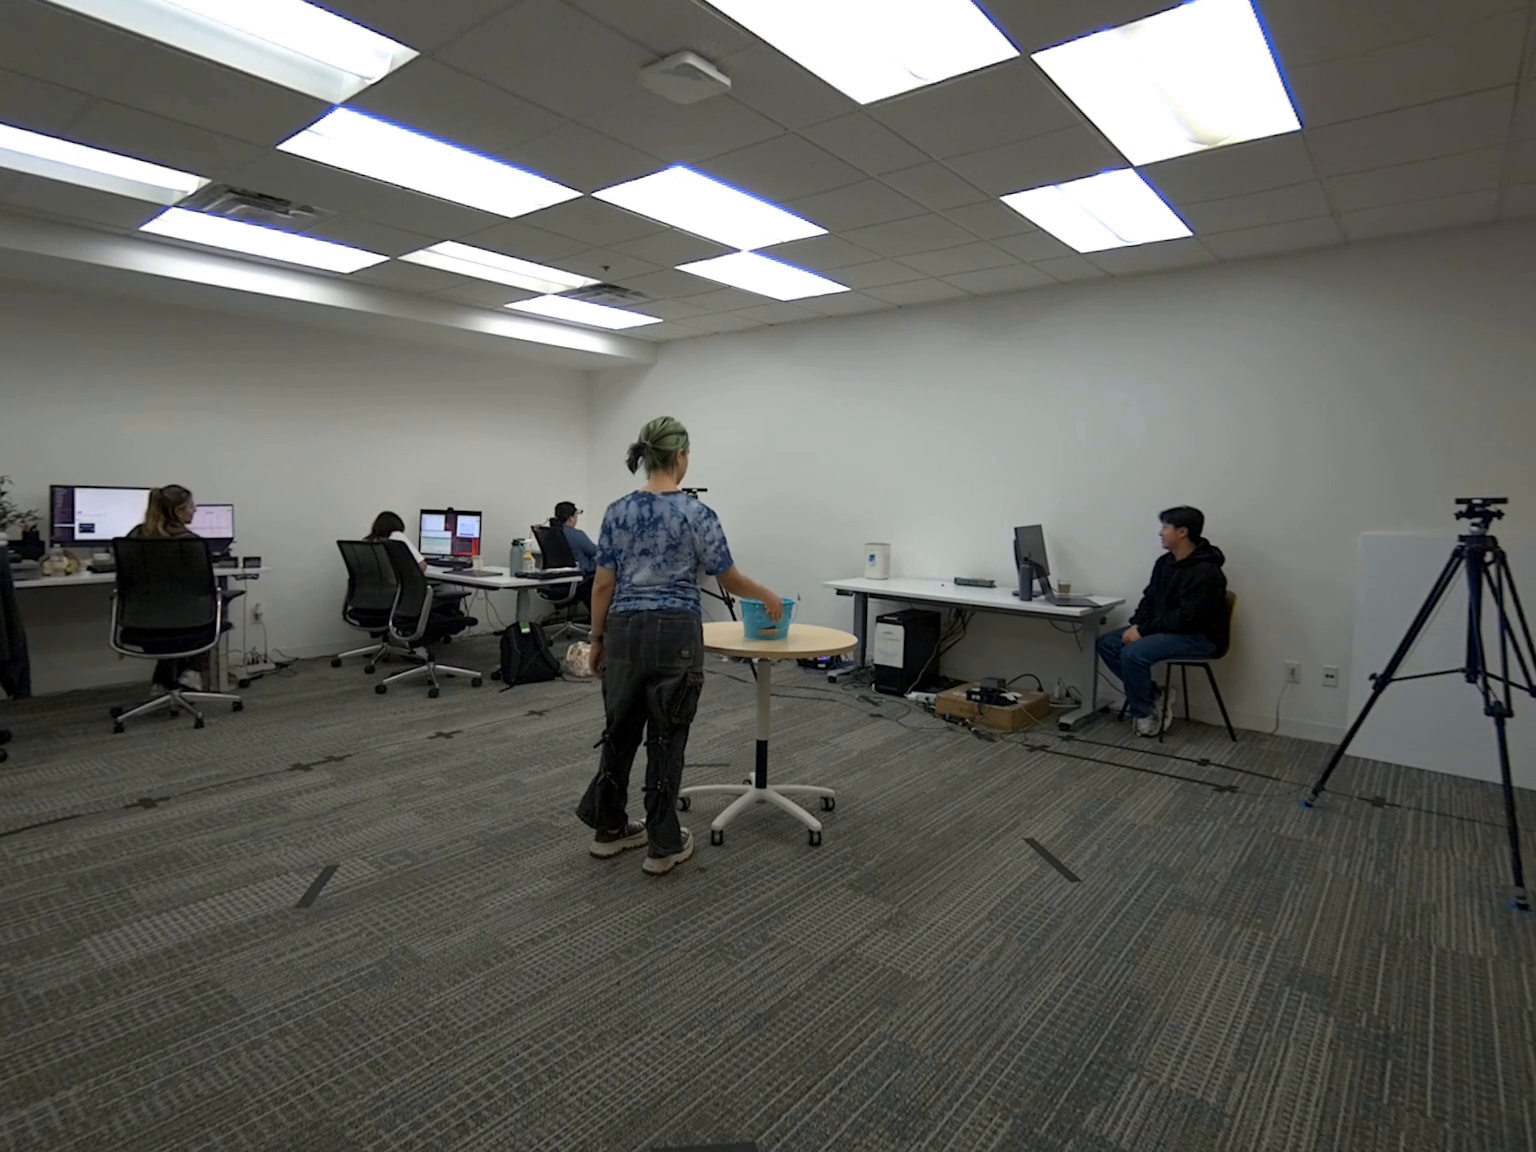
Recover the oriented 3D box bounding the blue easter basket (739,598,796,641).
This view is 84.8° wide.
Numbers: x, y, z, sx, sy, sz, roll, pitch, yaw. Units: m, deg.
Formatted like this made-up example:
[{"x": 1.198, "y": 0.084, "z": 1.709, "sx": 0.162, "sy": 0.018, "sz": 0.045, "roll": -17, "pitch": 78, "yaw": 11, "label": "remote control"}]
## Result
[{"x": -0.019, "y": 0.172, "z": 3.528, "sx": 0.243, "sy": 0.155, "sz": 0.244, "roll": 2, "pitch": 3, "yaw": -2, "label": "blue easter basket"}]
